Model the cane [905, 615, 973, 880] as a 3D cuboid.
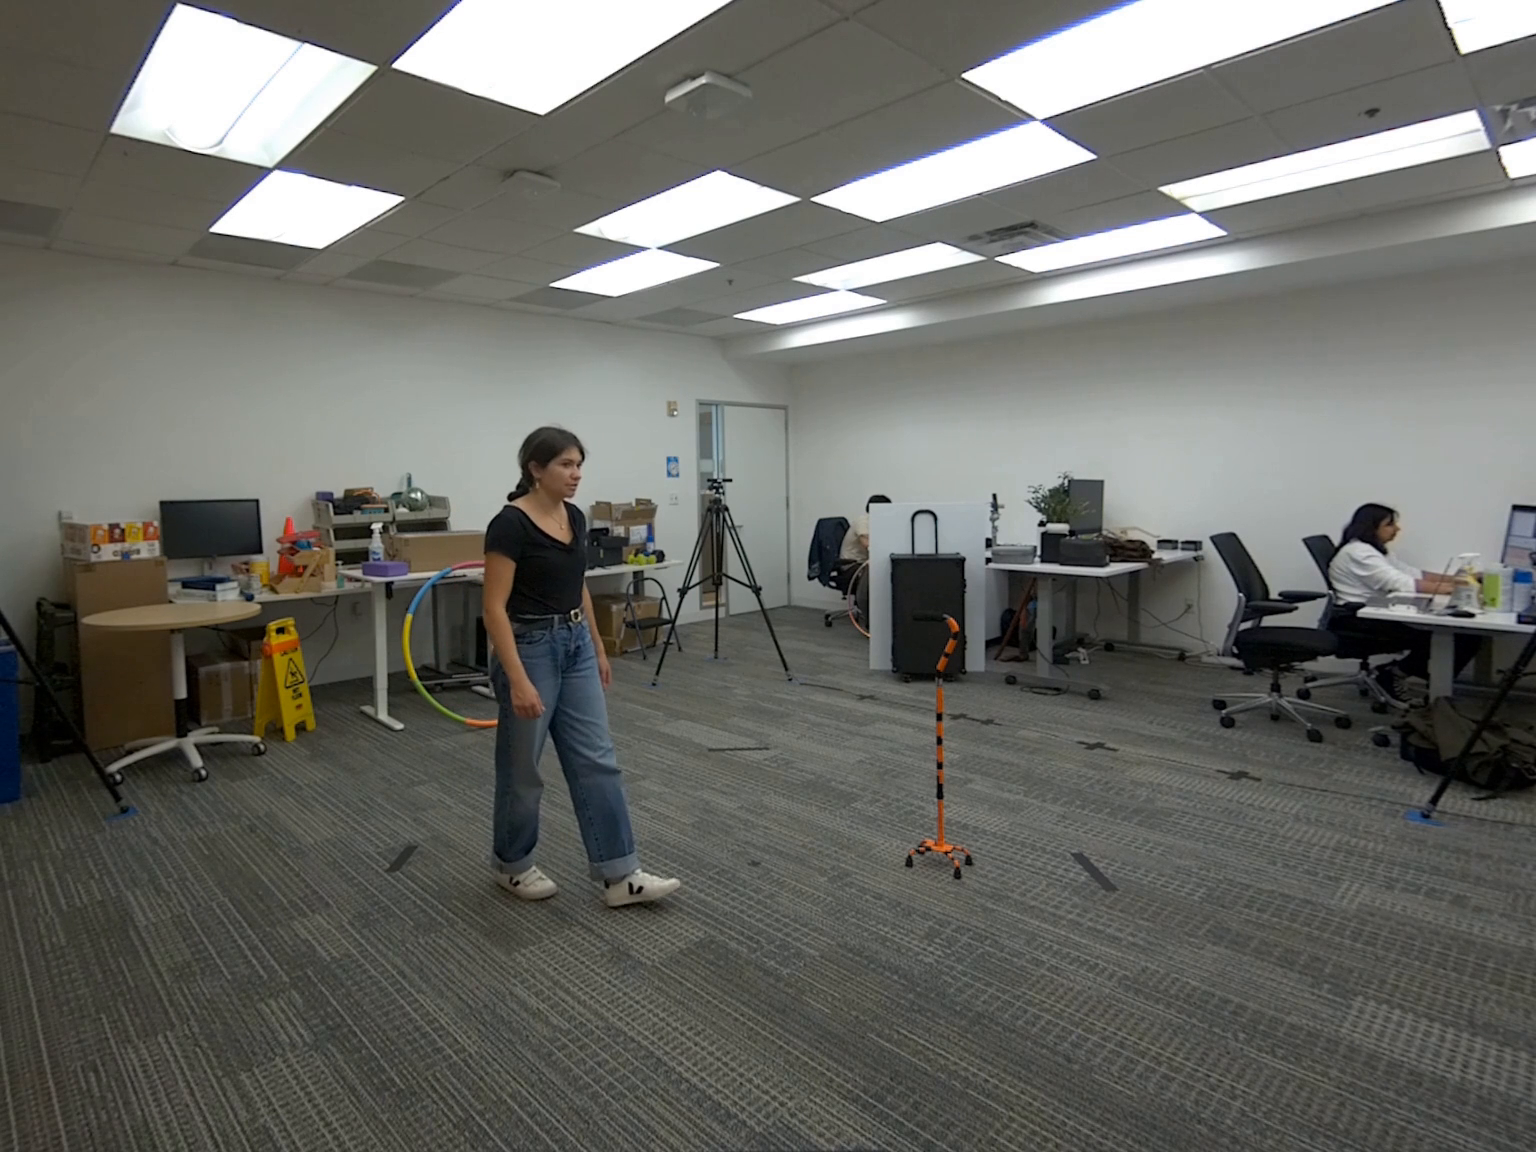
[{"bbox_3d":[0.611,0.590,3.052,0.212,0.906,0.148,1,3,30],"label":"cane"}]
